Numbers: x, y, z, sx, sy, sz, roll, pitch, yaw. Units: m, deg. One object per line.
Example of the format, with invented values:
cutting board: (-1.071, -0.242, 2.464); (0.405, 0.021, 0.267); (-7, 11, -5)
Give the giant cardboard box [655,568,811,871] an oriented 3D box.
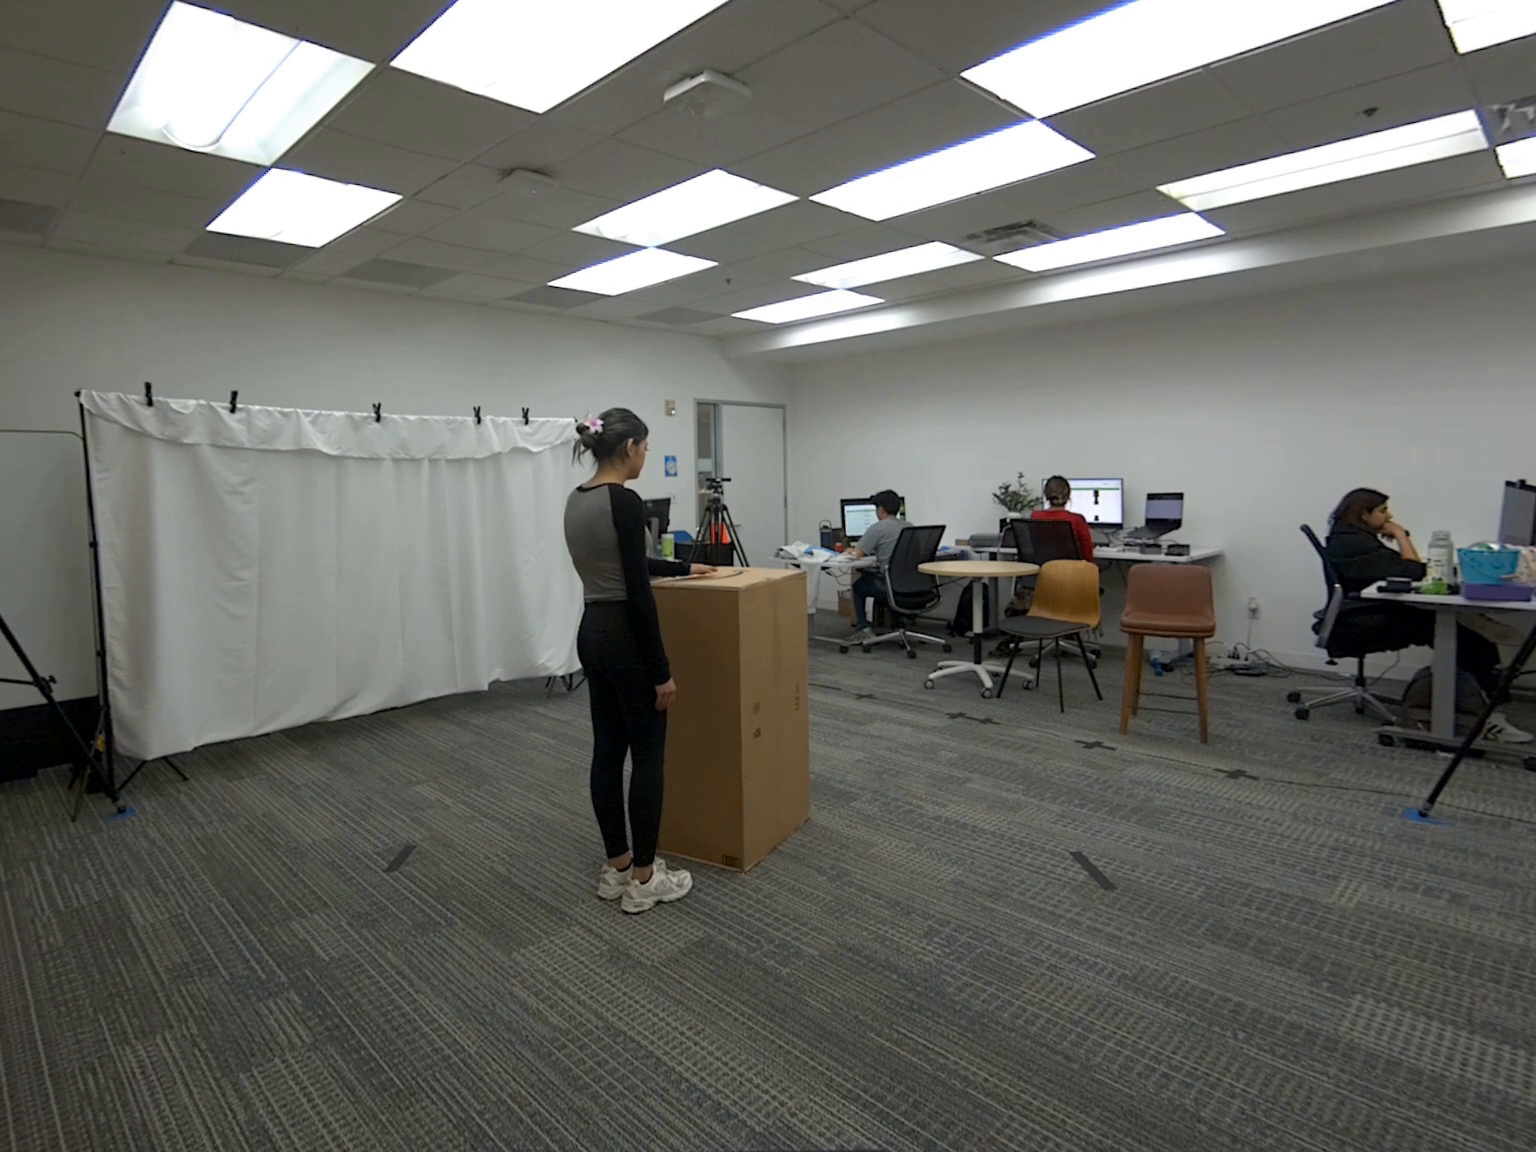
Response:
giant cardboard box: (-0.150, 0.510, 3.341); (0.458, 1.023, 0.572); (2, 5, 28)
